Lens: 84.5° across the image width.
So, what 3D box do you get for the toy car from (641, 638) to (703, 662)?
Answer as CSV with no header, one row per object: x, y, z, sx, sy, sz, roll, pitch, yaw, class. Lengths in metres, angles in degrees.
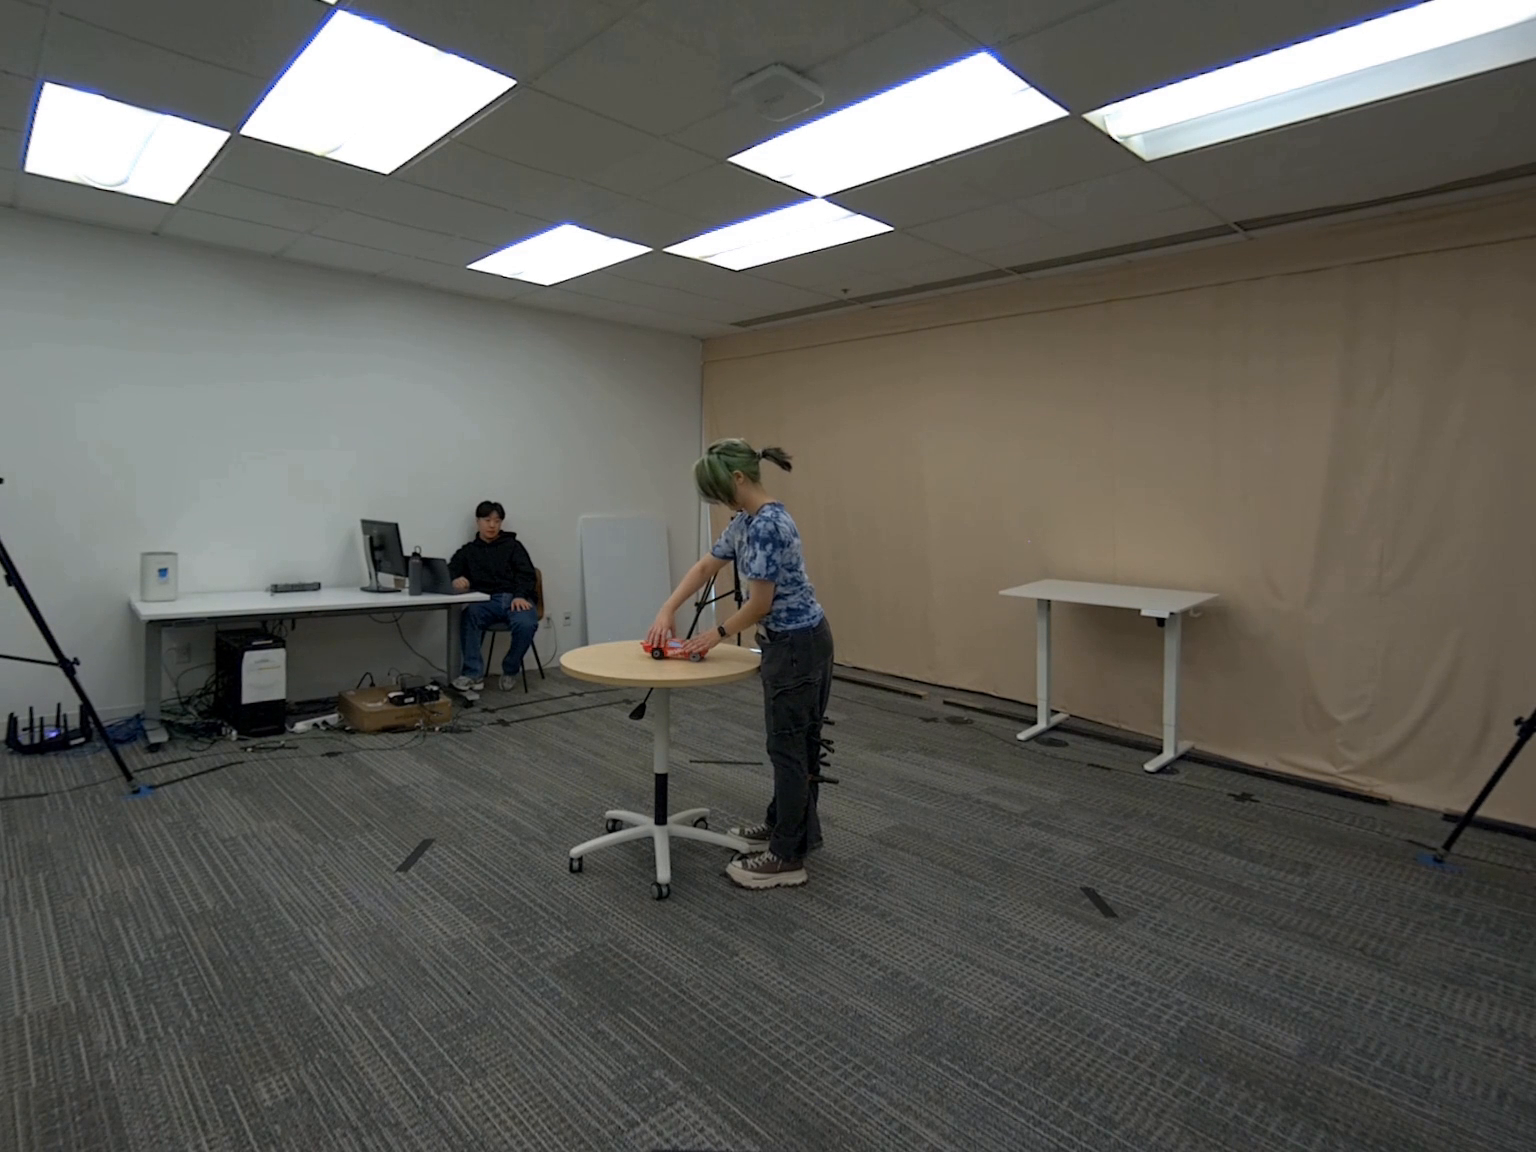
-0.359,0.279,3.175,0.257,0.083,0.129,12,5,9,toy car
